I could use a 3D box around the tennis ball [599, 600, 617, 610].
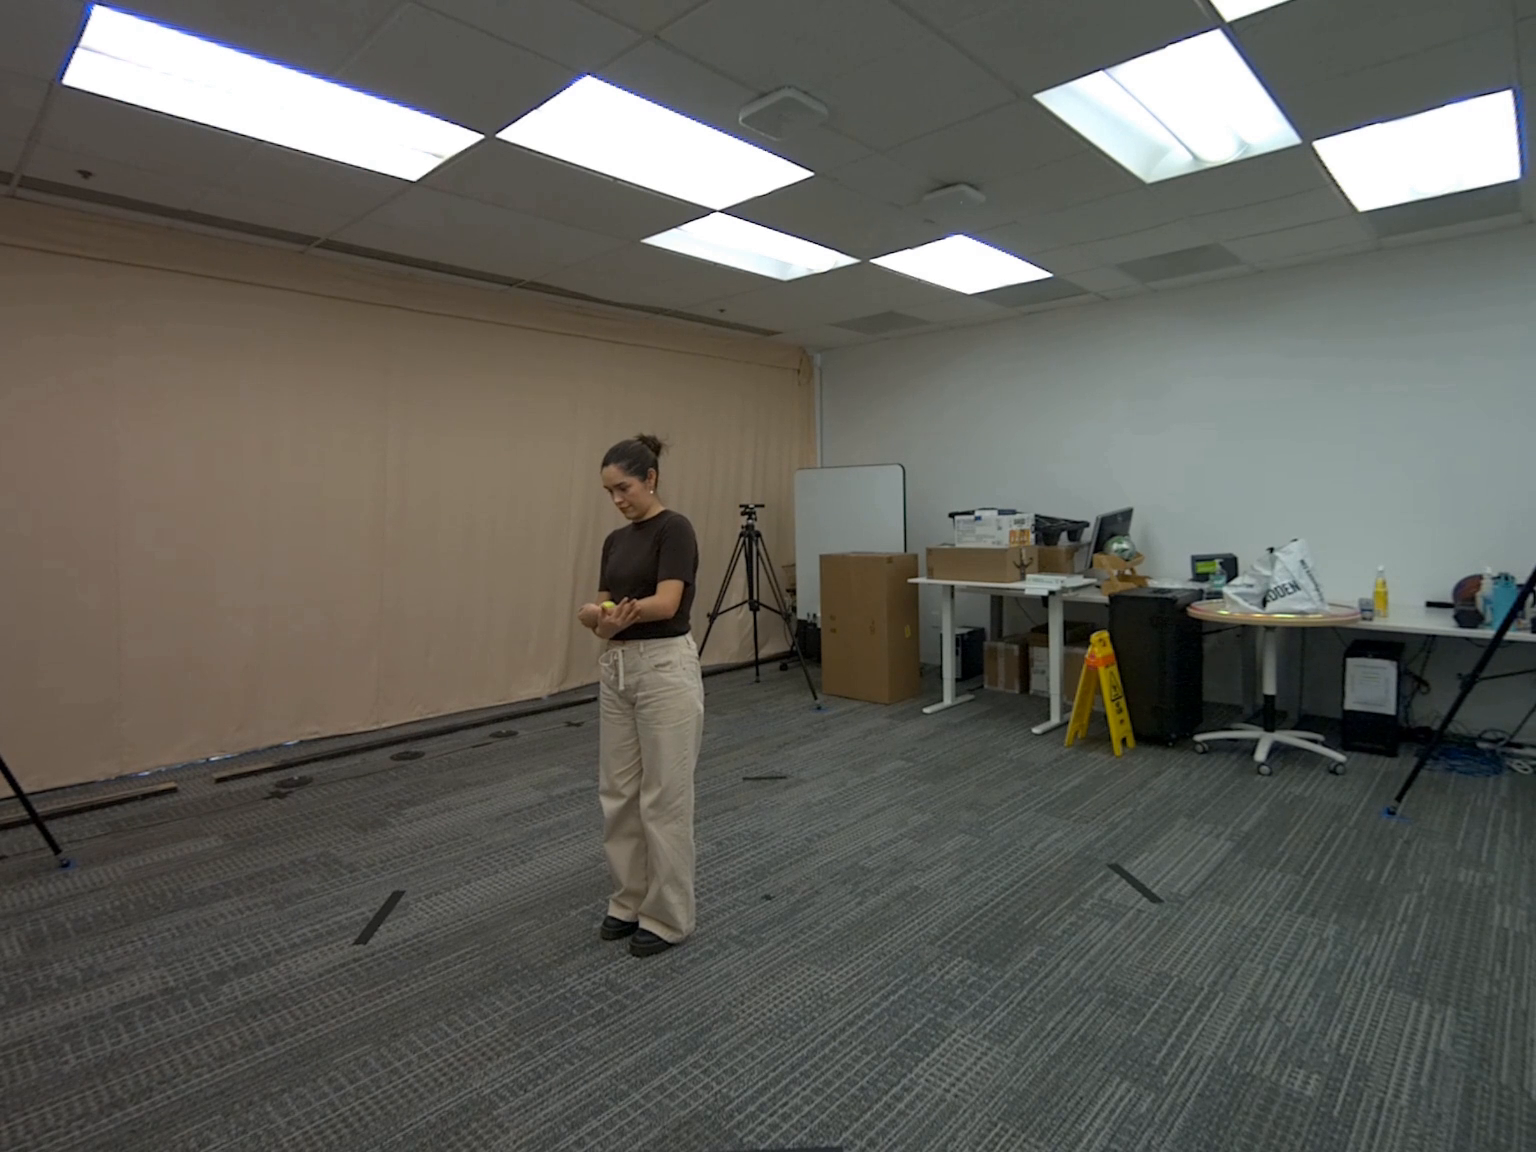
[{"bbox_3d":[-0.500,0.111,2.667,0.066,0.066,0.067,-1,4,-2],"label":"tennis ball"}]
